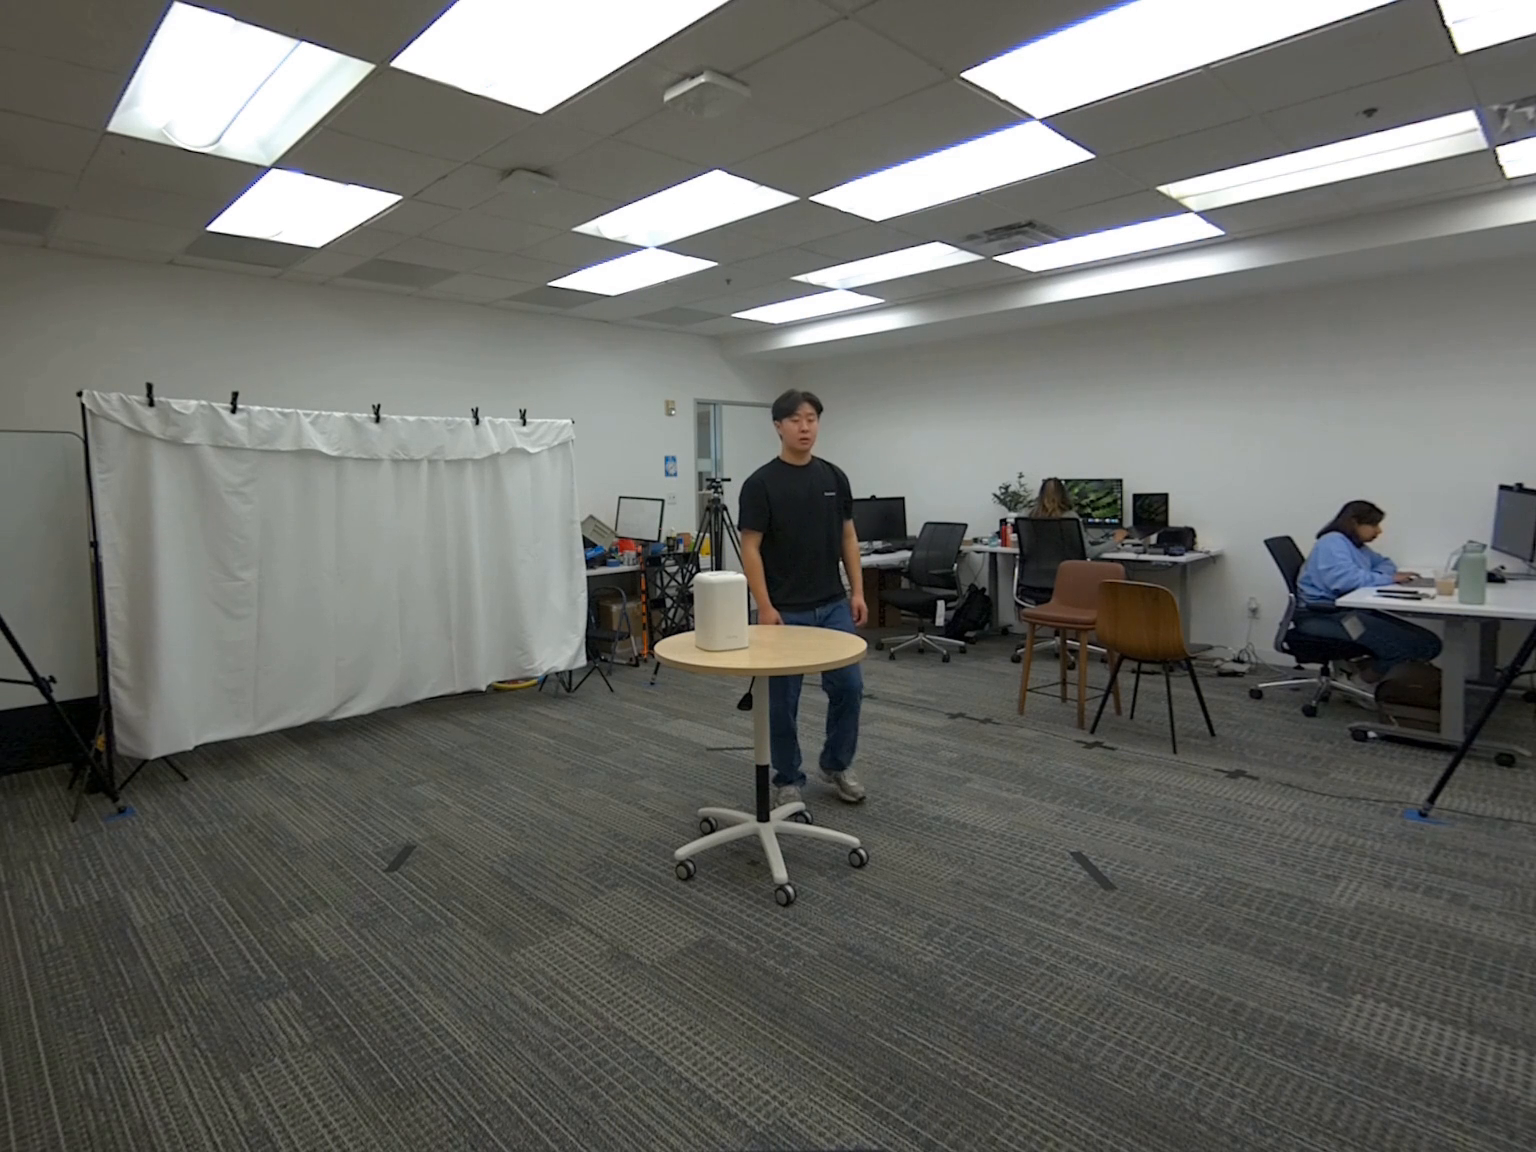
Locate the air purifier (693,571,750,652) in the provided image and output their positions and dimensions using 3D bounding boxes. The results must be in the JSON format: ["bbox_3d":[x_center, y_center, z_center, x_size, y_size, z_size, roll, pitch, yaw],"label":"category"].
[{"bbox_3d":[-0.163,0.120,3.062,0.167,0.264,0.176,-3,4,-25],"label":"air purifier"}]
